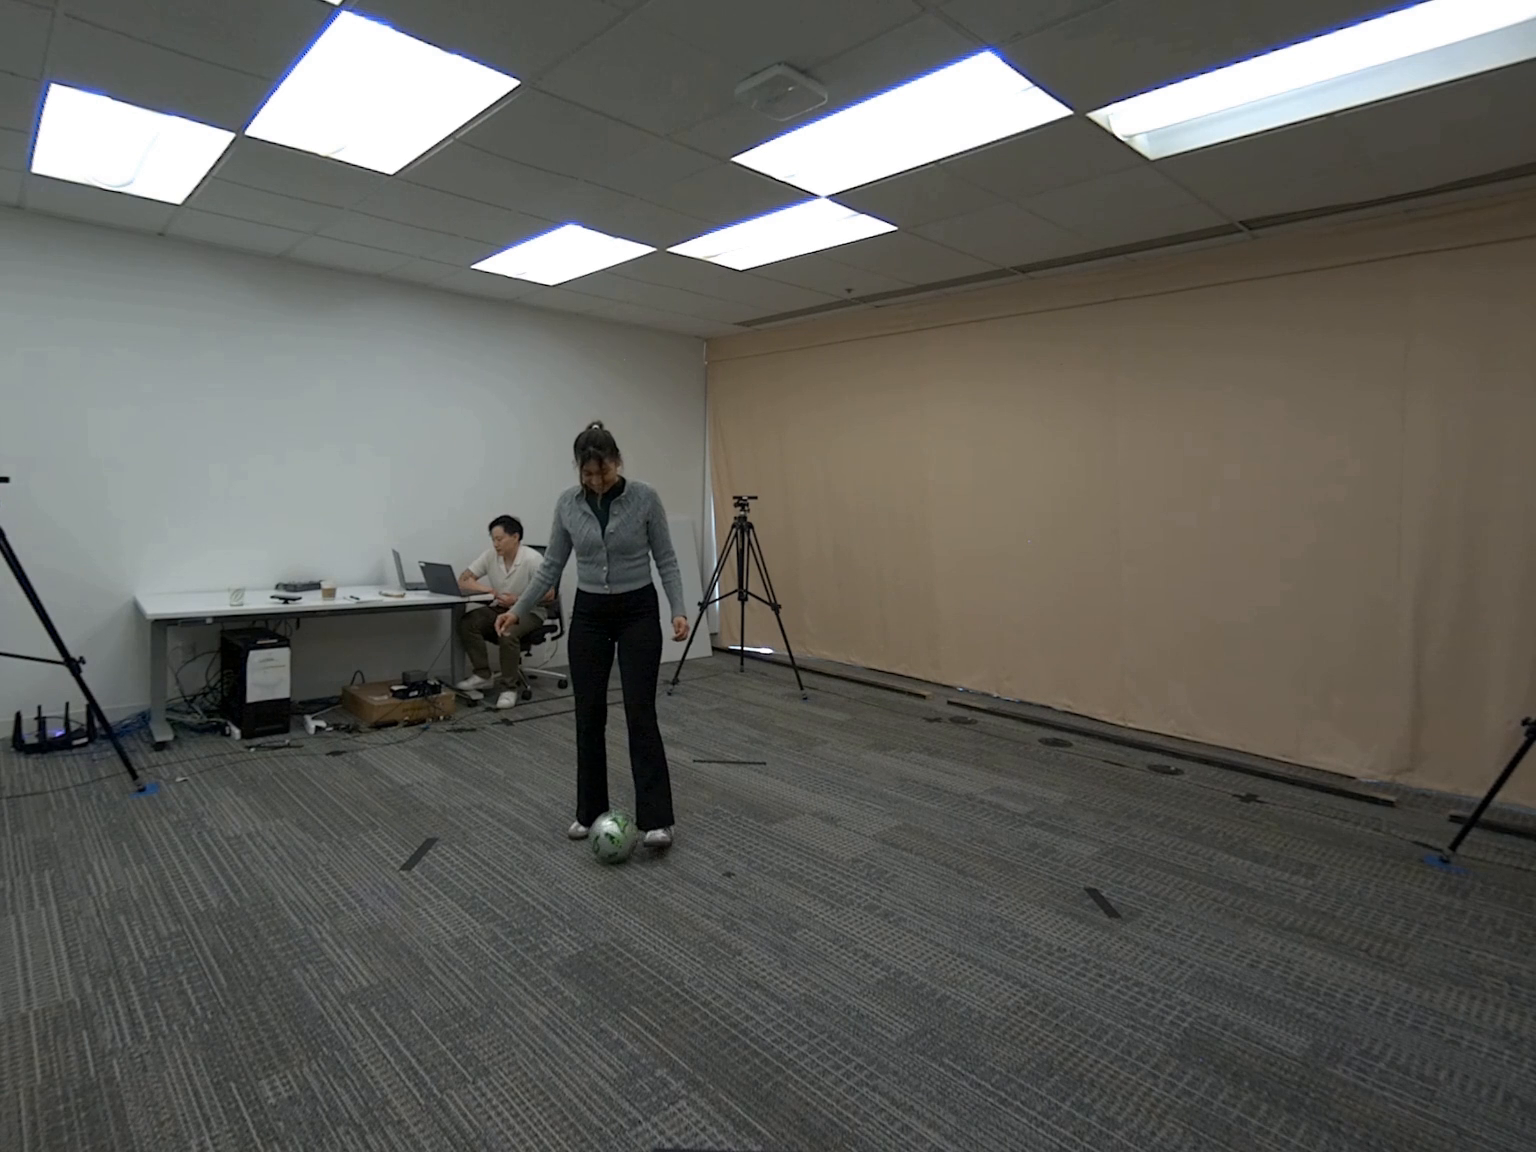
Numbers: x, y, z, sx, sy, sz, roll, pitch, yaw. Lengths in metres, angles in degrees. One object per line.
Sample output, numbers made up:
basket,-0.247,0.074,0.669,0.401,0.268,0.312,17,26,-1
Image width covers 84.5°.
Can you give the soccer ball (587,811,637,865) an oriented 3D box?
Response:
soccer ball,-0.594,0.992,3.197,0.187,0.187,0.188,1,4,-1
